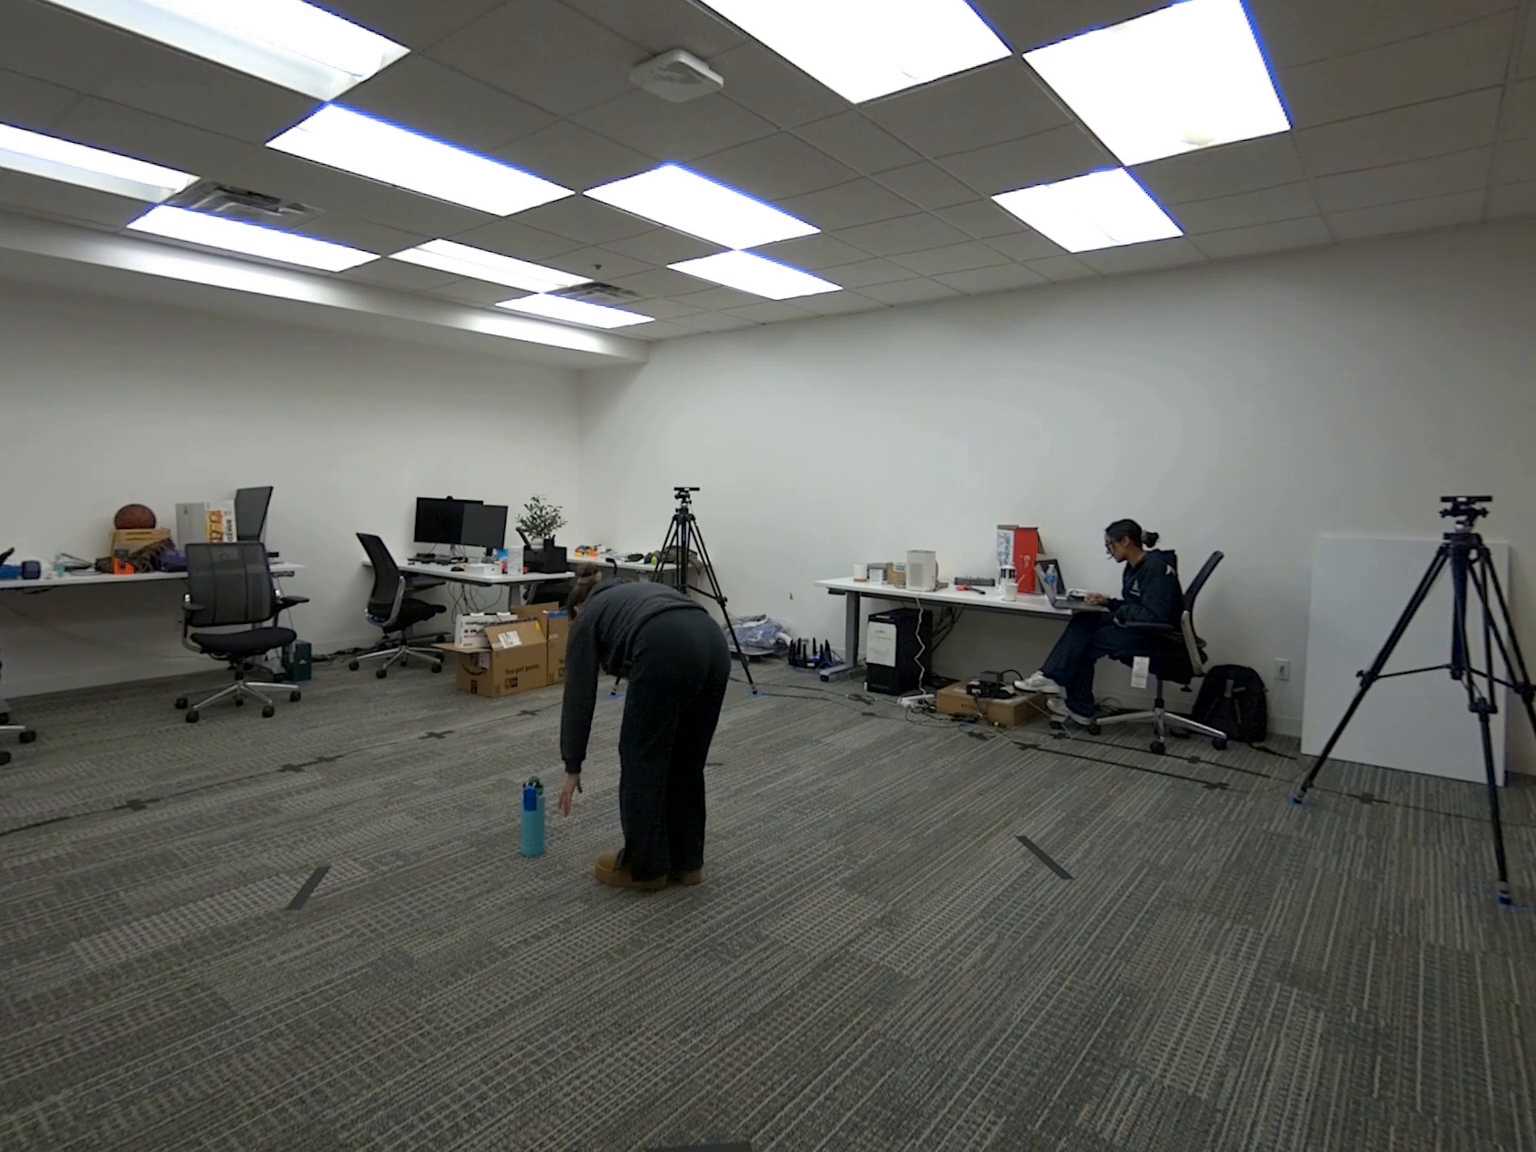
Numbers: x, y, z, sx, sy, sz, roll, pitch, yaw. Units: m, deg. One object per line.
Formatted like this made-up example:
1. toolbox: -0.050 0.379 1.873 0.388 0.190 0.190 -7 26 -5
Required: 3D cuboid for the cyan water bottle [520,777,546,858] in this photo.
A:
1. cyan water bottle: -0.891 0.908 3.220 0.092 0.282 0.093 2 4 -2
